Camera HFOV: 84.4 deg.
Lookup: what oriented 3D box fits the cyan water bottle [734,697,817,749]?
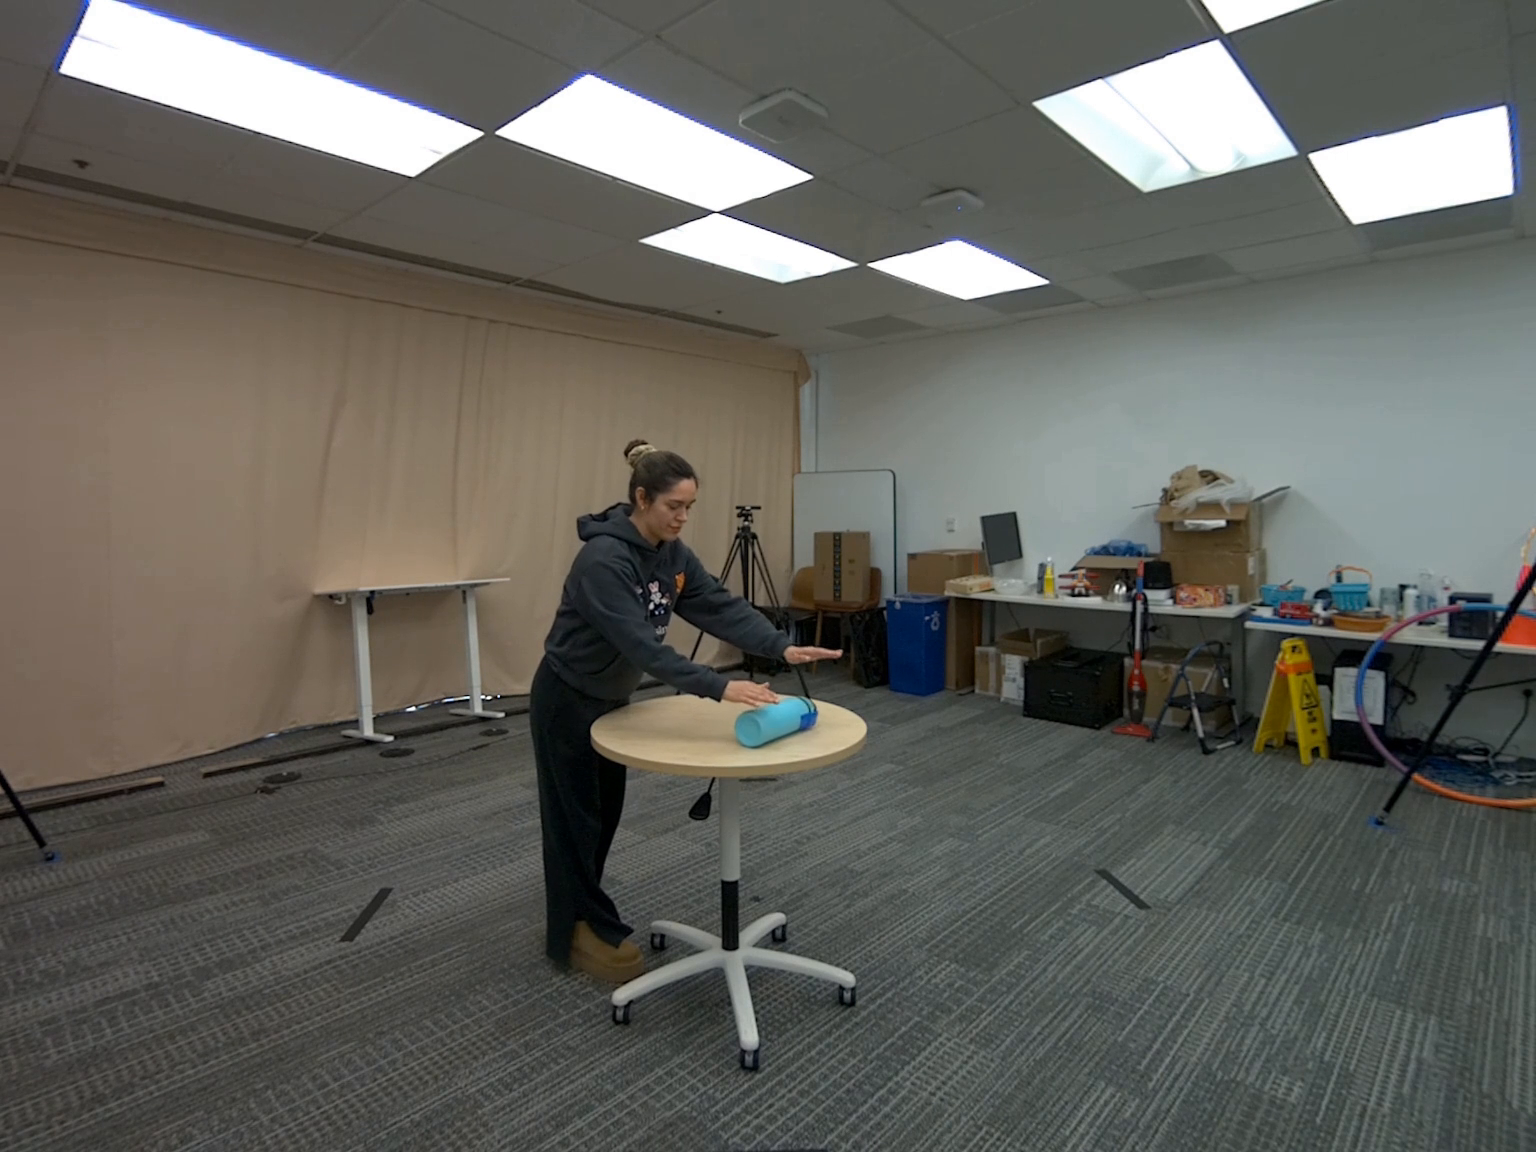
[{"bbox_3d":[0.035,0.376,2.226,0.095,0.092,0.275,3,6,37],"label":"cyan water bottle"}]
